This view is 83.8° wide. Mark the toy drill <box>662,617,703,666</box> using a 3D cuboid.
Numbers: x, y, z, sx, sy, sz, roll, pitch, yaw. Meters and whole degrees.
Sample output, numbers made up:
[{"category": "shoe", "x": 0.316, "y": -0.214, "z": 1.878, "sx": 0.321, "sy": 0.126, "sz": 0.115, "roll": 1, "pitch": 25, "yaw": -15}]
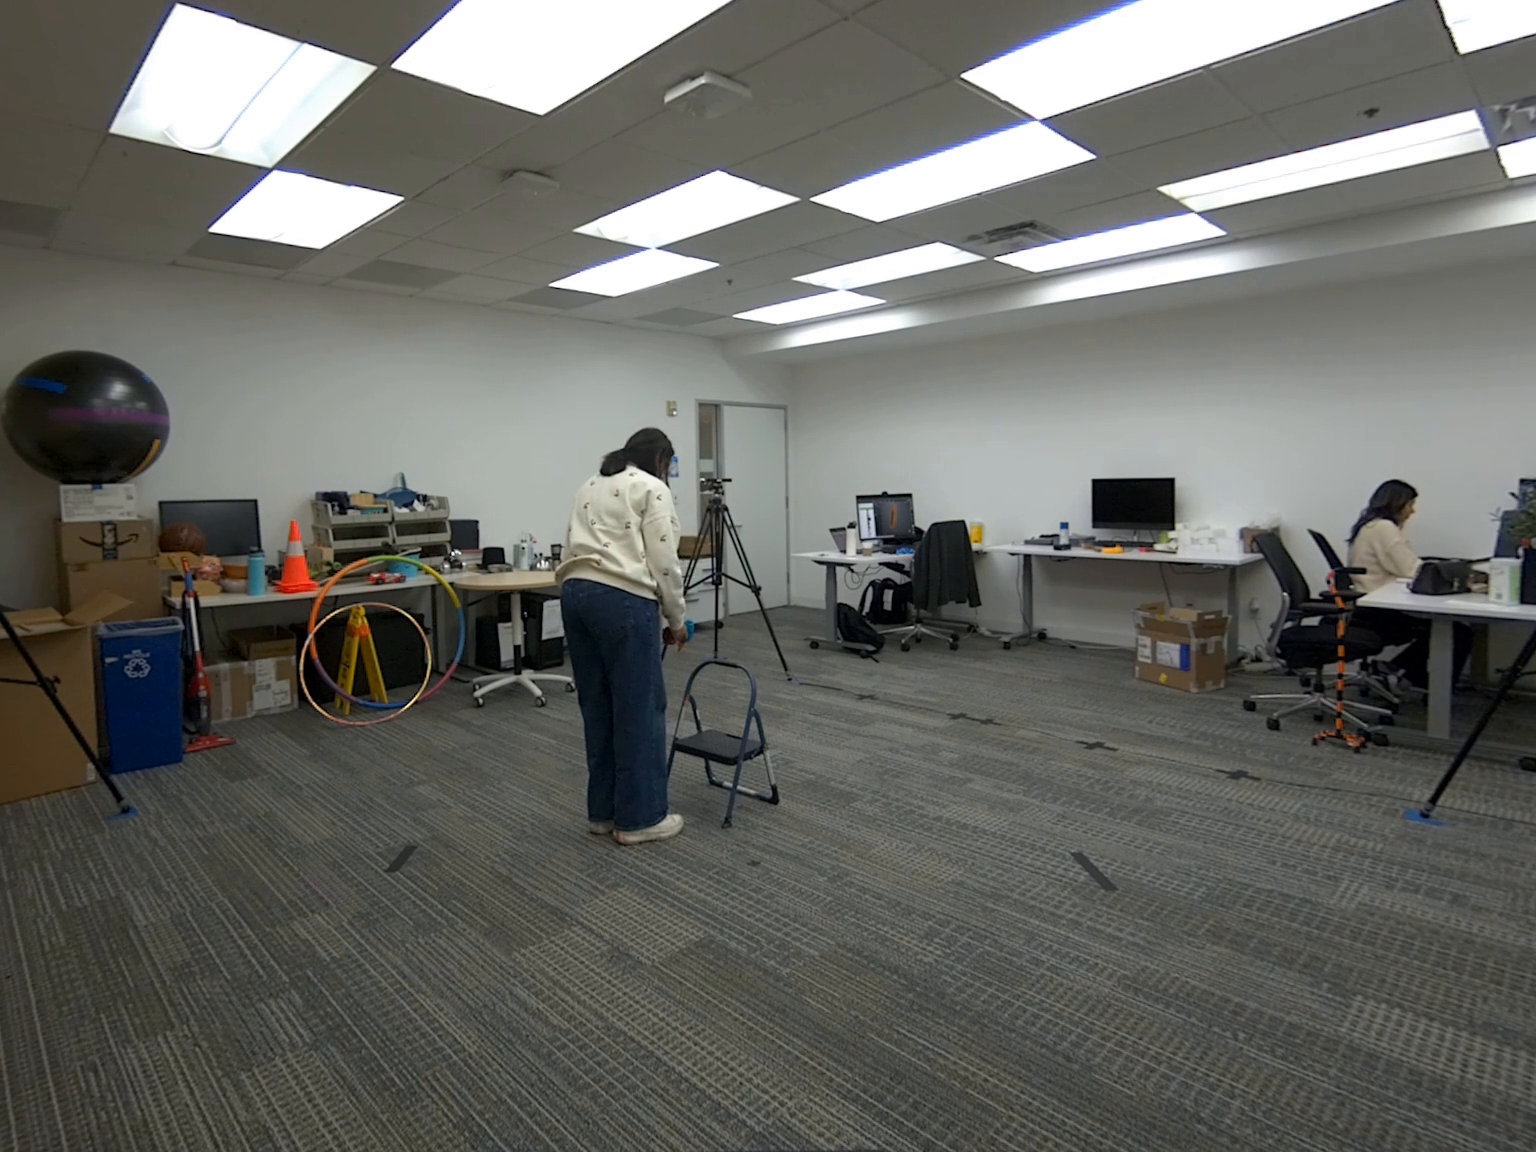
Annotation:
[{"category": "toy drill", "x": -0.369, "y": 0.265, "z": 3.512, "sx": 0.142, "sy": 0.168, "sz": 0.063, "roll": -9, "pitch": 40, "yaw": -44}]
